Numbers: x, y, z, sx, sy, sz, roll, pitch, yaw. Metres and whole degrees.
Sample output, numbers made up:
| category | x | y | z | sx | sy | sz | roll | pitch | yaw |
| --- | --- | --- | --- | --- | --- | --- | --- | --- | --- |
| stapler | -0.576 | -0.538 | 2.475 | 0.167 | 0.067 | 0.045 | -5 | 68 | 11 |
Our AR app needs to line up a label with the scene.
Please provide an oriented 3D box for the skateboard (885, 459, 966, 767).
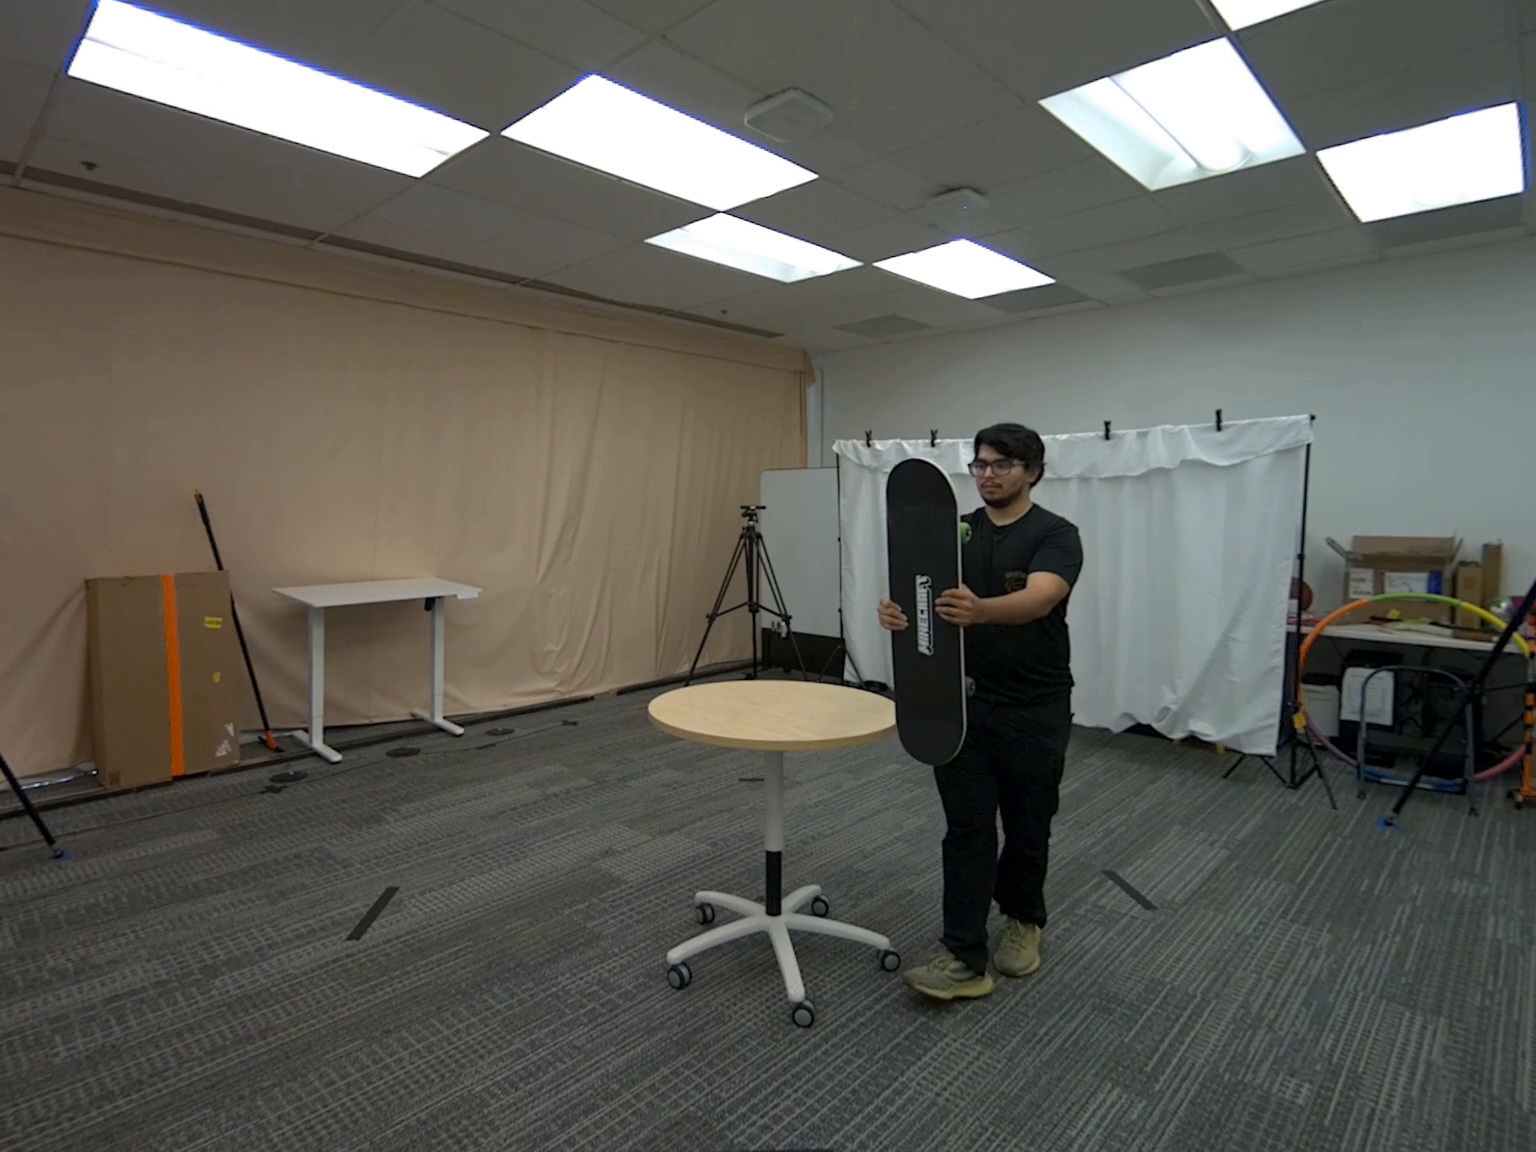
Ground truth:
| category | x | y | z | sx | sy | sz | roll | pitch | yaw |
| --- | --- | --- | --- | --- | --- | --- | --- | --- | --- |
| skateboard | 0.415 | 0.088 | 2.117 | 0.200 | 0.779 | 0.107 | 4 | 14 | 39 |
